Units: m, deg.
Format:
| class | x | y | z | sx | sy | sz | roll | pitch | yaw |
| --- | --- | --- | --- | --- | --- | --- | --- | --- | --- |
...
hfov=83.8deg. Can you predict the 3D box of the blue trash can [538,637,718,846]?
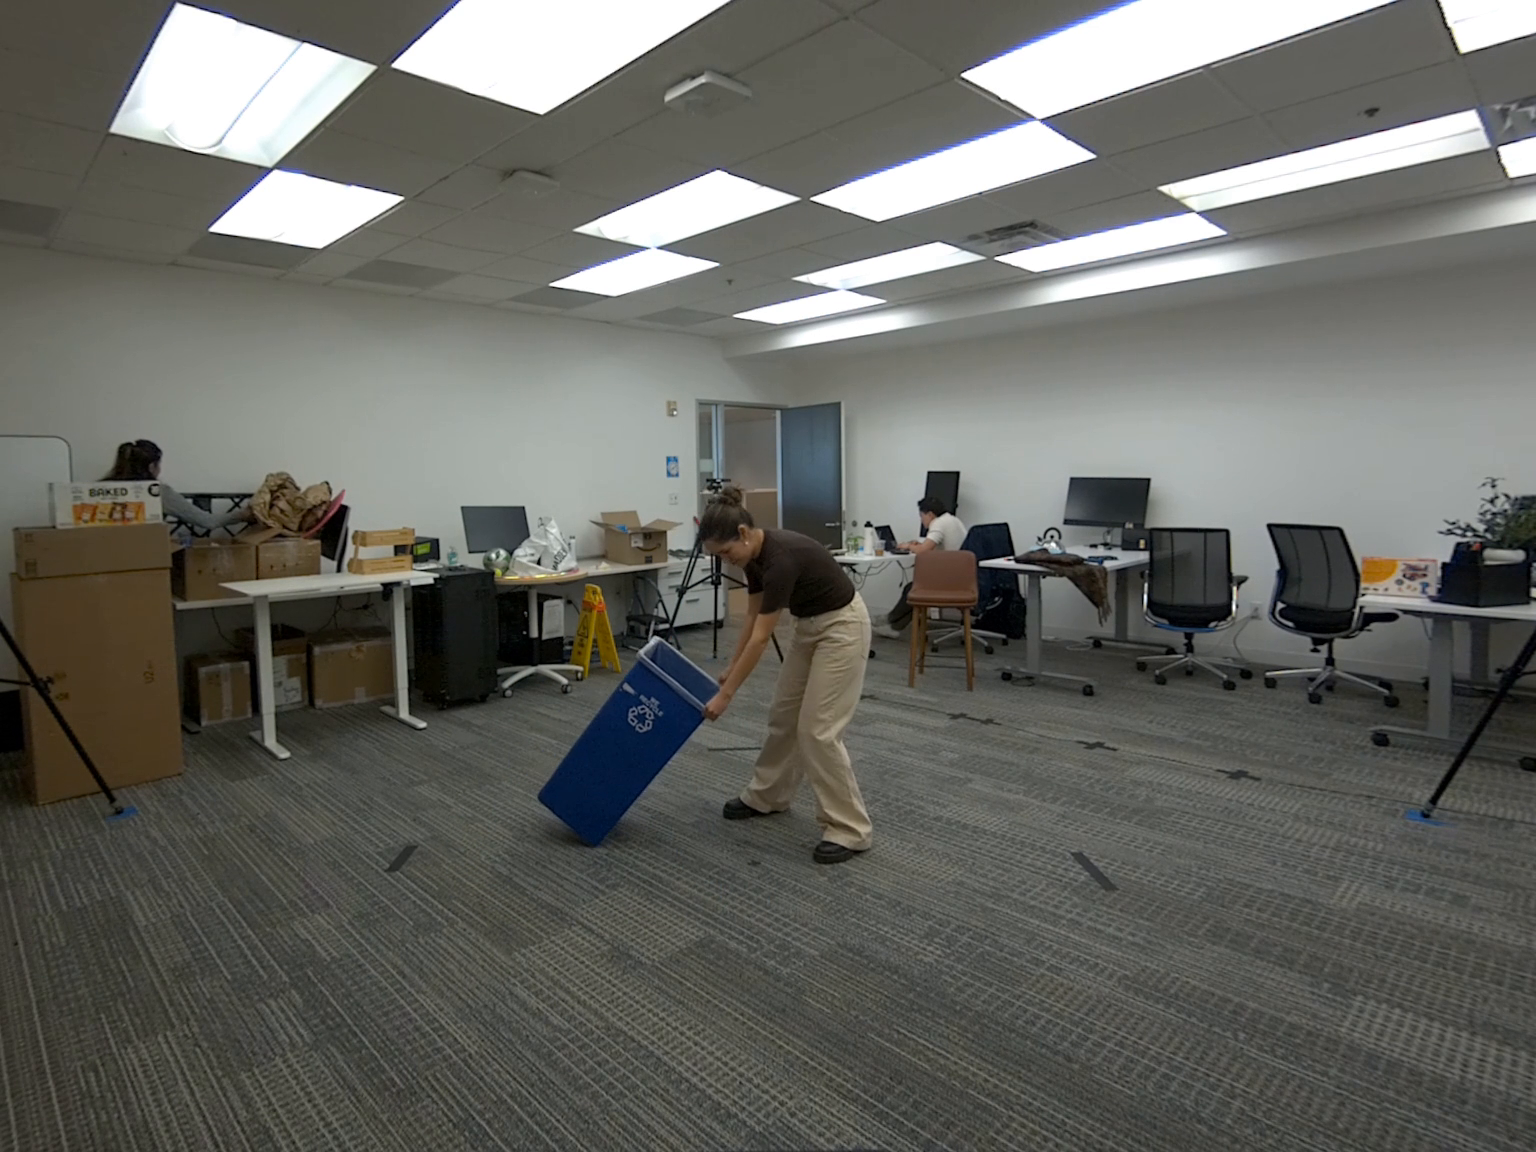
| class | x | y | z | sx | sy | sz | roll | pitch | yaw |
| --- | --- | --- | --- | --- | --- | --- | --- | --- | --- |
| blue trash can | -0.537 | 0.653 | 3.365 | 0.375 | 0.713 | 0.378 | 38 | 7 | 1 |
